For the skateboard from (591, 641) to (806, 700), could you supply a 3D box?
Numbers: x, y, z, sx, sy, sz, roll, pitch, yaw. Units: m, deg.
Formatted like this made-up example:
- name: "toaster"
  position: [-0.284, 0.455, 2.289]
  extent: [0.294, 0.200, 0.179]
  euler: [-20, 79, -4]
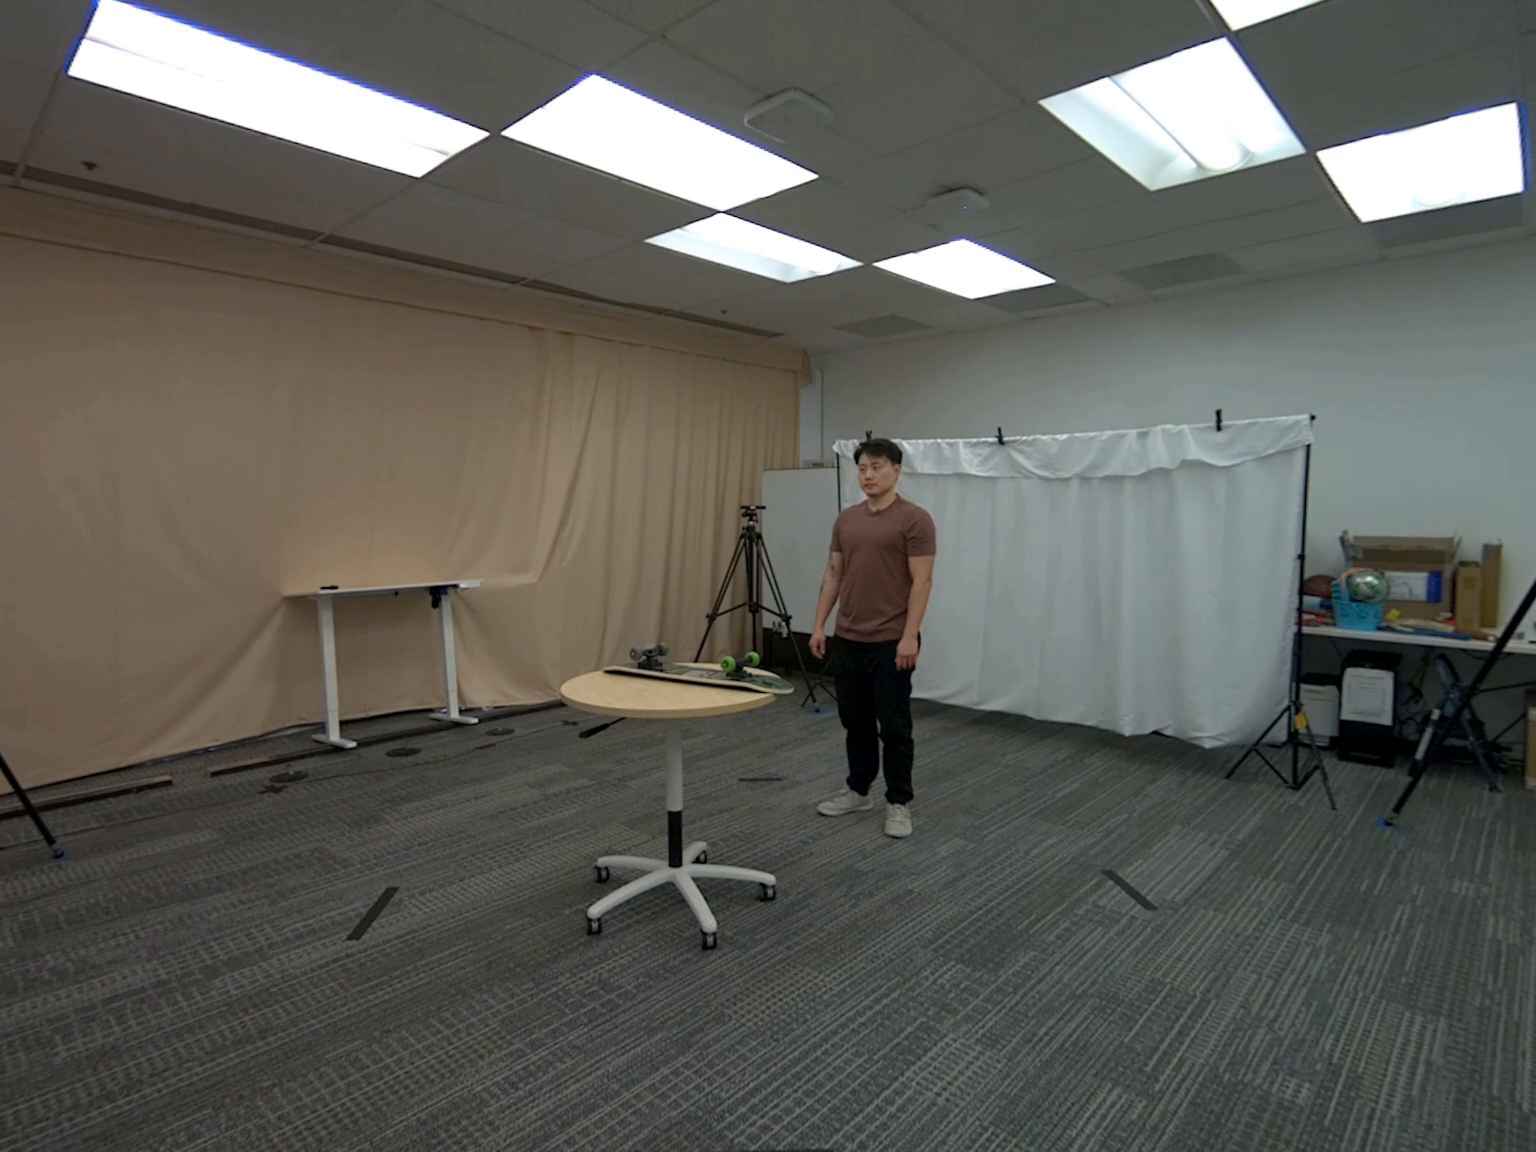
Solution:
- name: "skateboard"
  position: [-0.265, 0.318, 2.973]
  extent: [0.809, 0.110, 0.188]
  euler: [2, 1, 34]
